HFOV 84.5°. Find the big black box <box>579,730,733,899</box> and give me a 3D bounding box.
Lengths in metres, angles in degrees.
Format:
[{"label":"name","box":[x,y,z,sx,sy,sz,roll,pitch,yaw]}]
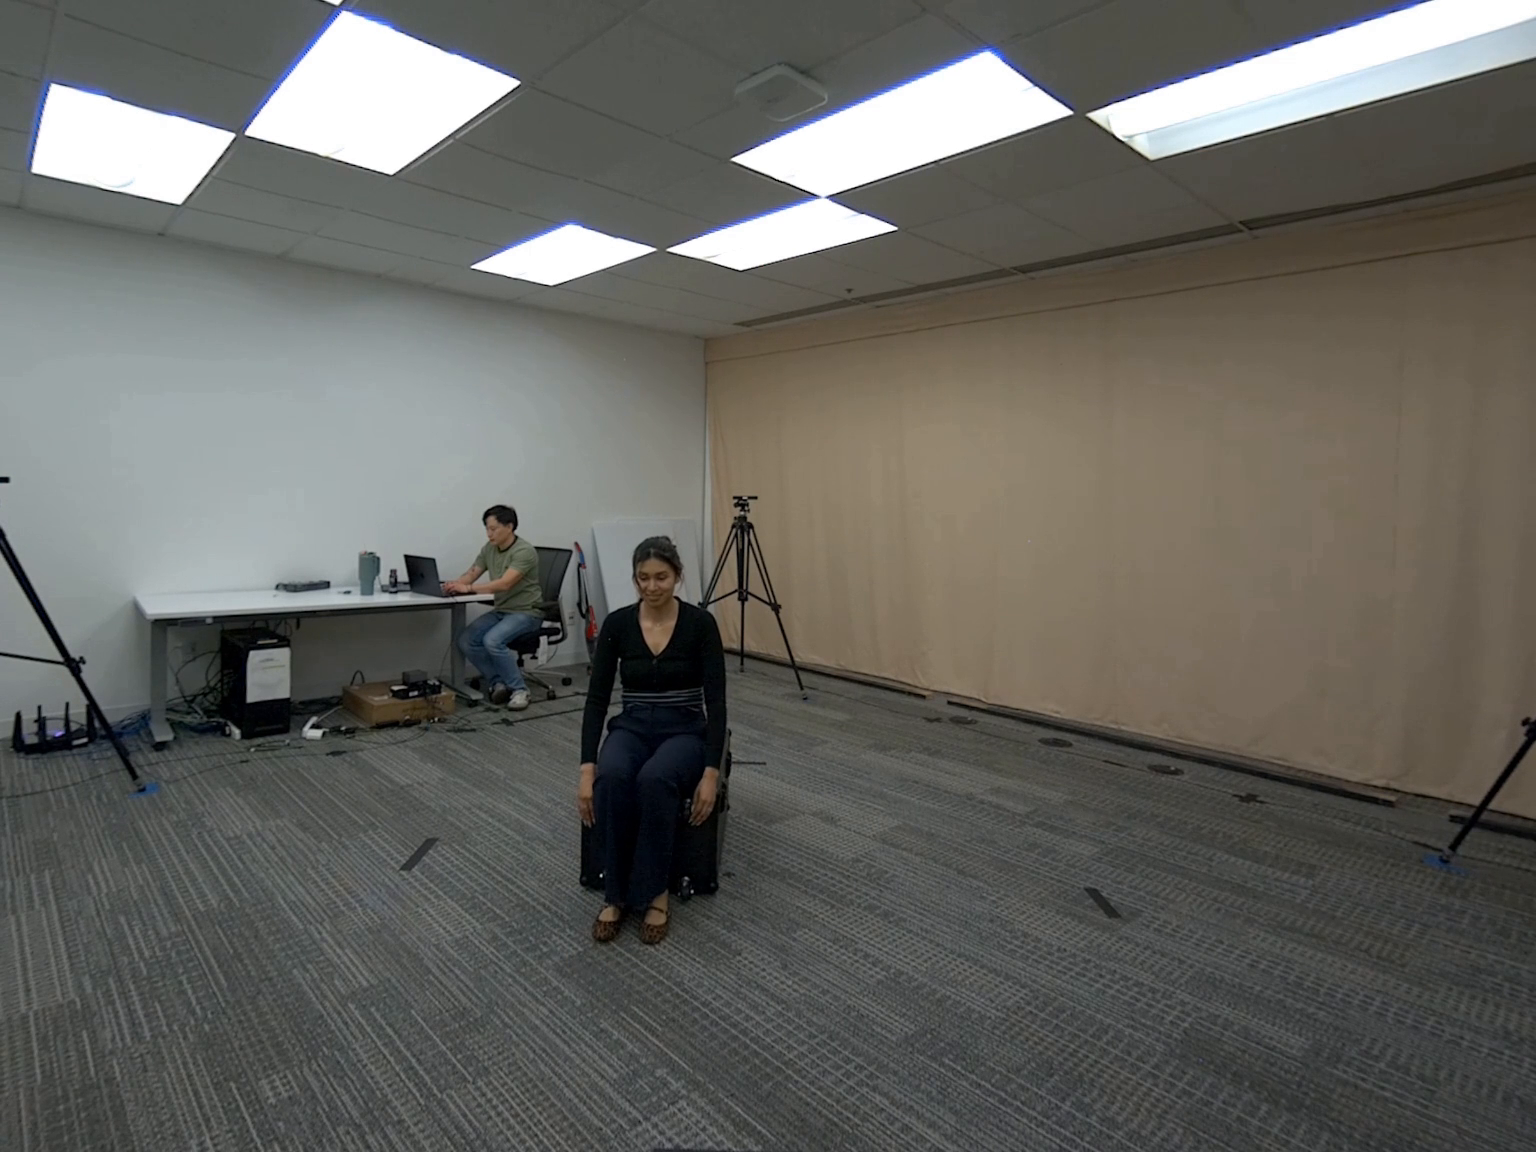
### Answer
[{"label":"big black box","box":[-0.419,0.889,3.278,0.522,0.395,0.863,2,6,1]}]
